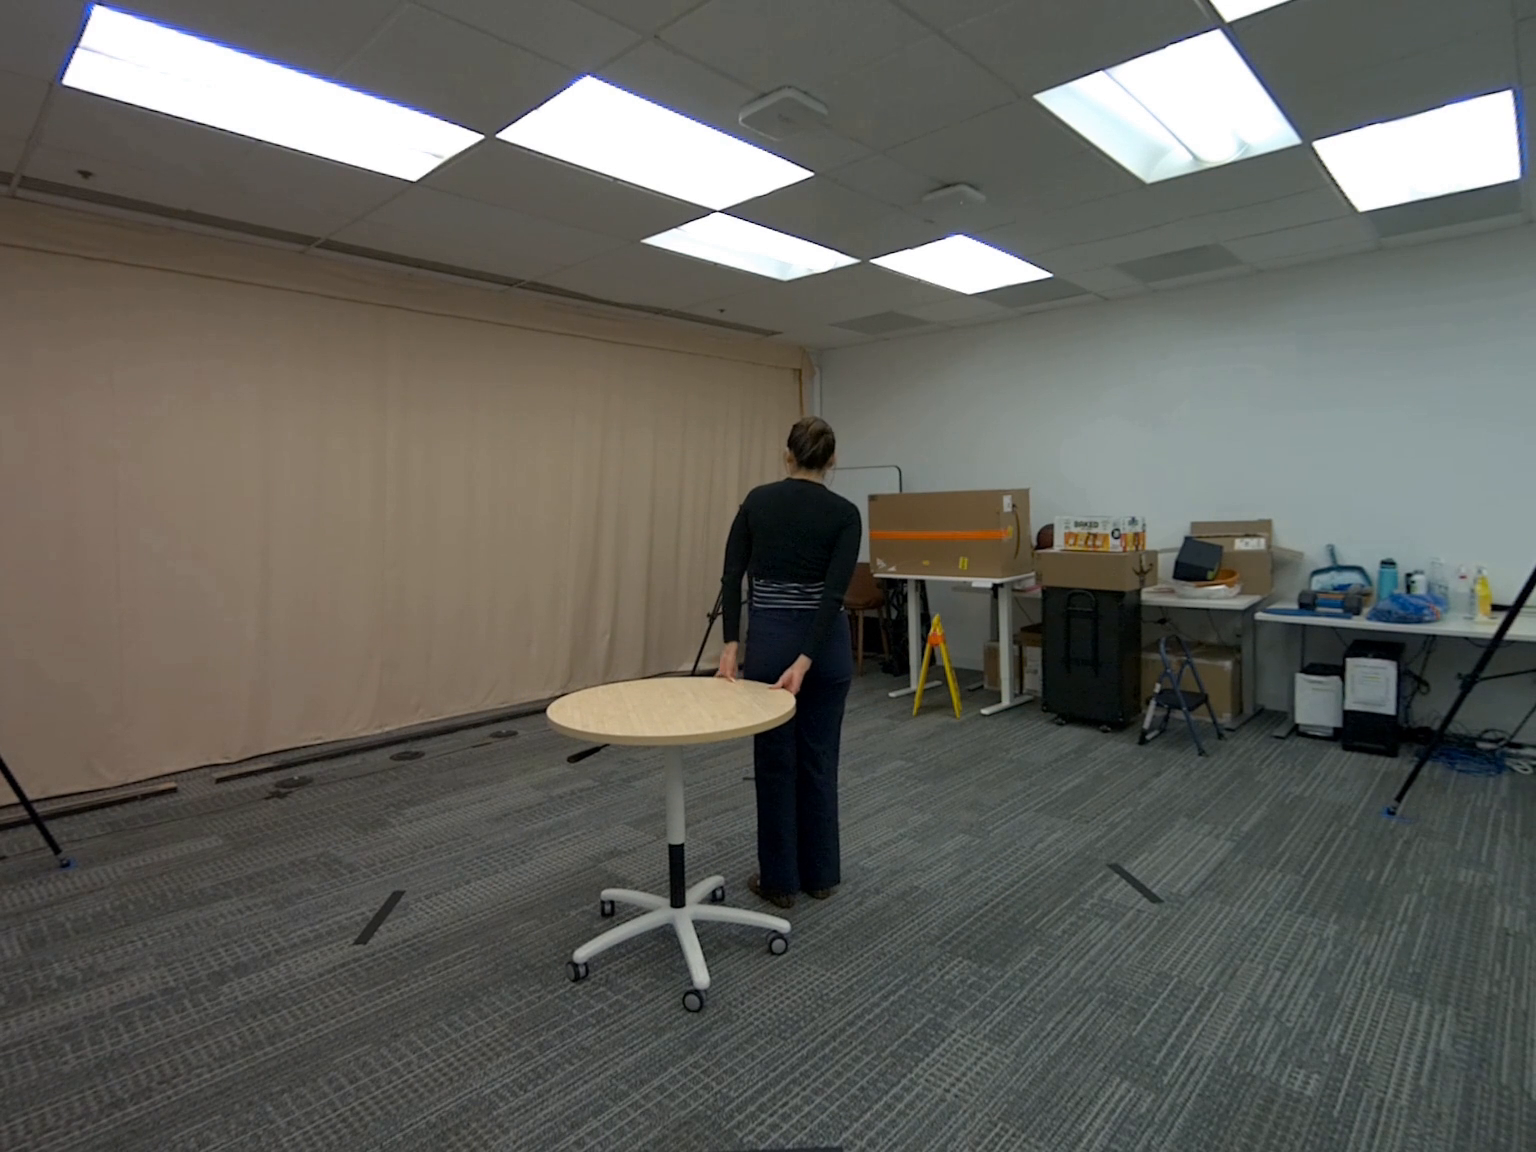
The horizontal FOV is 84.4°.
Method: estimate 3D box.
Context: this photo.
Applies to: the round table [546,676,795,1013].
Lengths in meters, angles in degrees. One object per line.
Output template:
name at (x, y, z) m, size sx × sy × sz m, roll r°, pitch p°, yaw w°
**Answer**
round table at (-0.288, 0.788, 2.625) m, size 0.763 × 0.792 × 0.767 m, roll -2°, pitch 4°, yaw -2°
